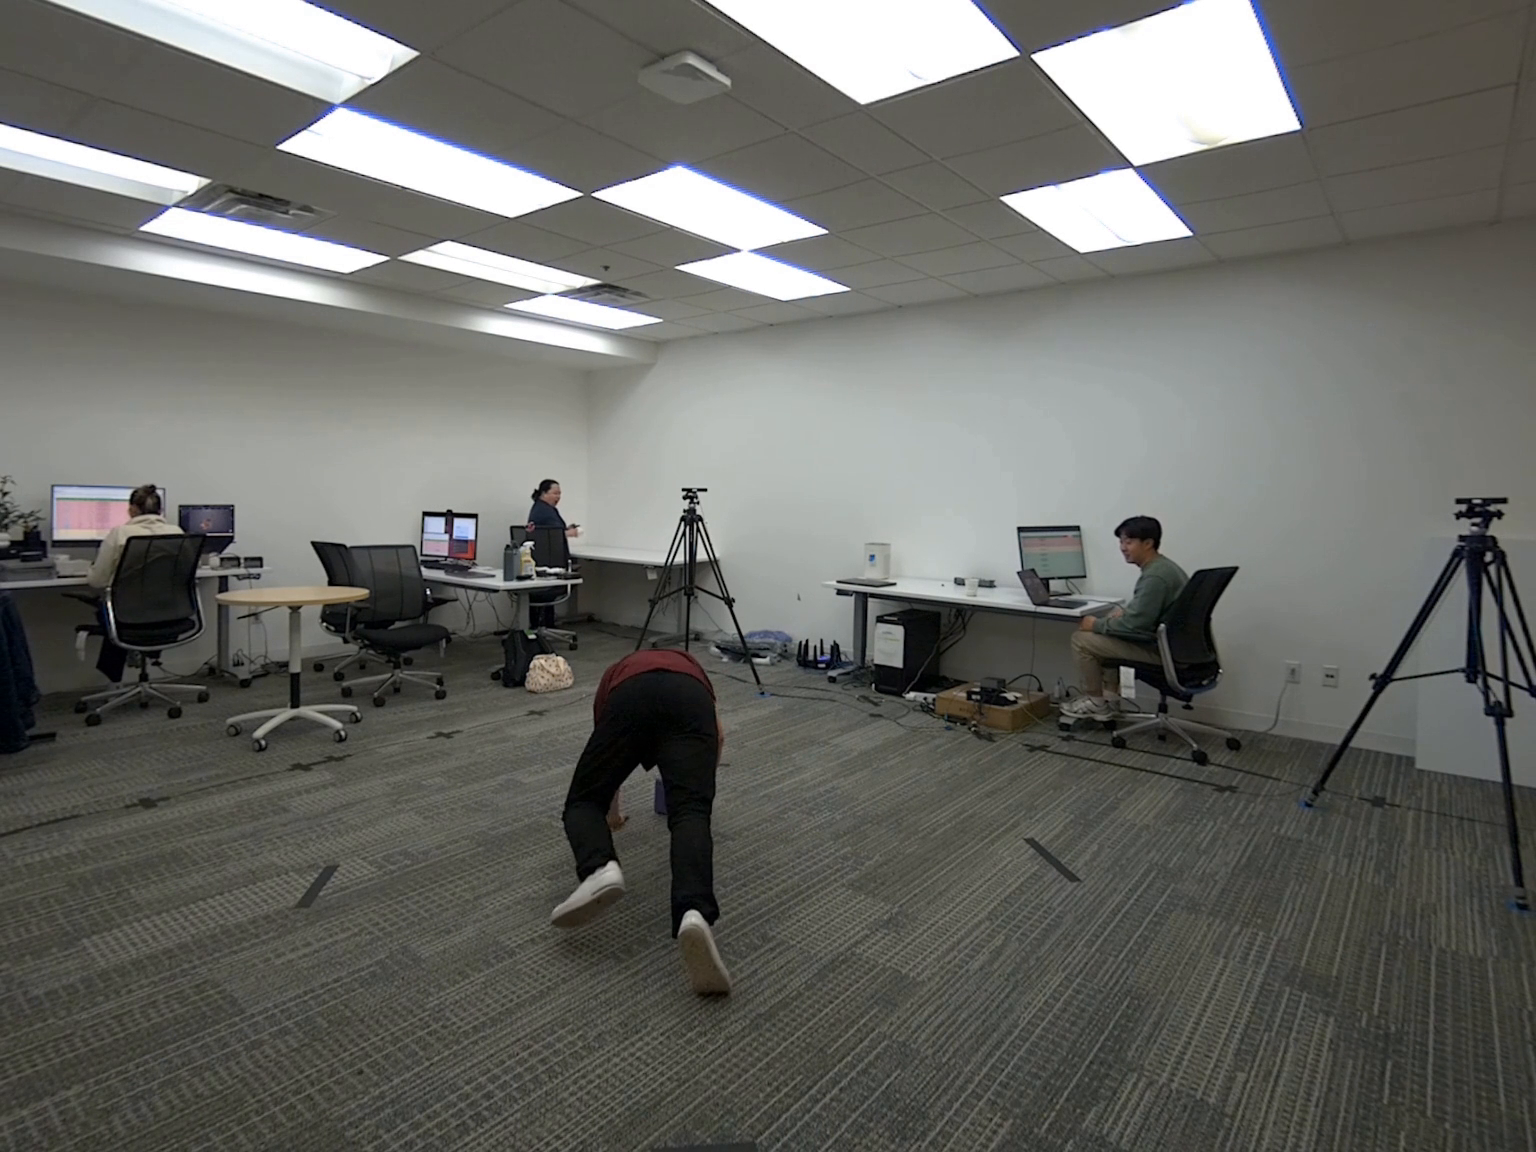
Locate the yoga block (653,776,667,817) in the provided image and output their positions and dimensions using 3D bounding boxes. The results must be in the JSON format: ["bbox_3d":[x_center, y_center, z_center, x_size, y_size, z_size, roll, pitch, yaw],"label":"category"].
[{"bbox_3d":[-0.379,0.931,3.624,0.234,0.149,0.075,2,2,18],"label":"yoga block"}]
